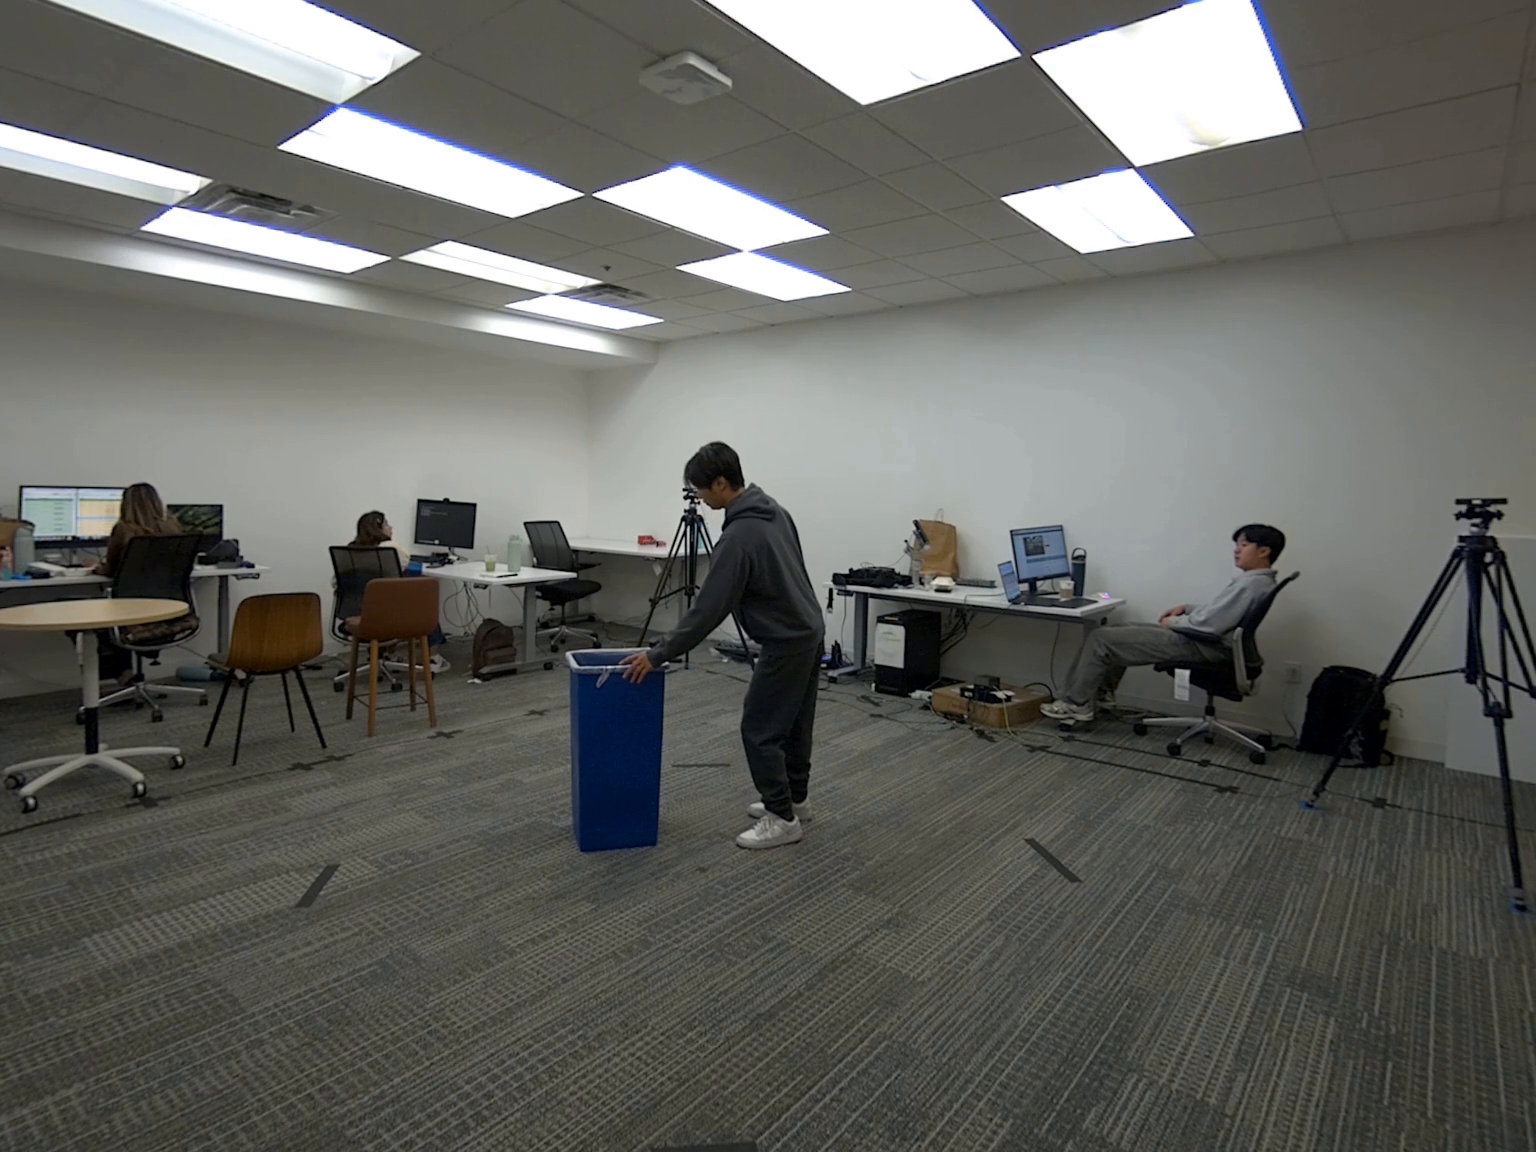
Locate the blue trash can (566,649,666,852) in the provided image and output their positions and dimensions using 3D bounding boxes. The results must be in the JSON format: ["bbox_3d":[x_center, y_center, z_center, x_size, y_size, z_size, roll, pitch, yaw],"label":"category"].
[{"bbox_3d":[-0.628,0.679,3.410,0.372,0.712,0.381,0,3,-17],"label":"blue trash can"}]
